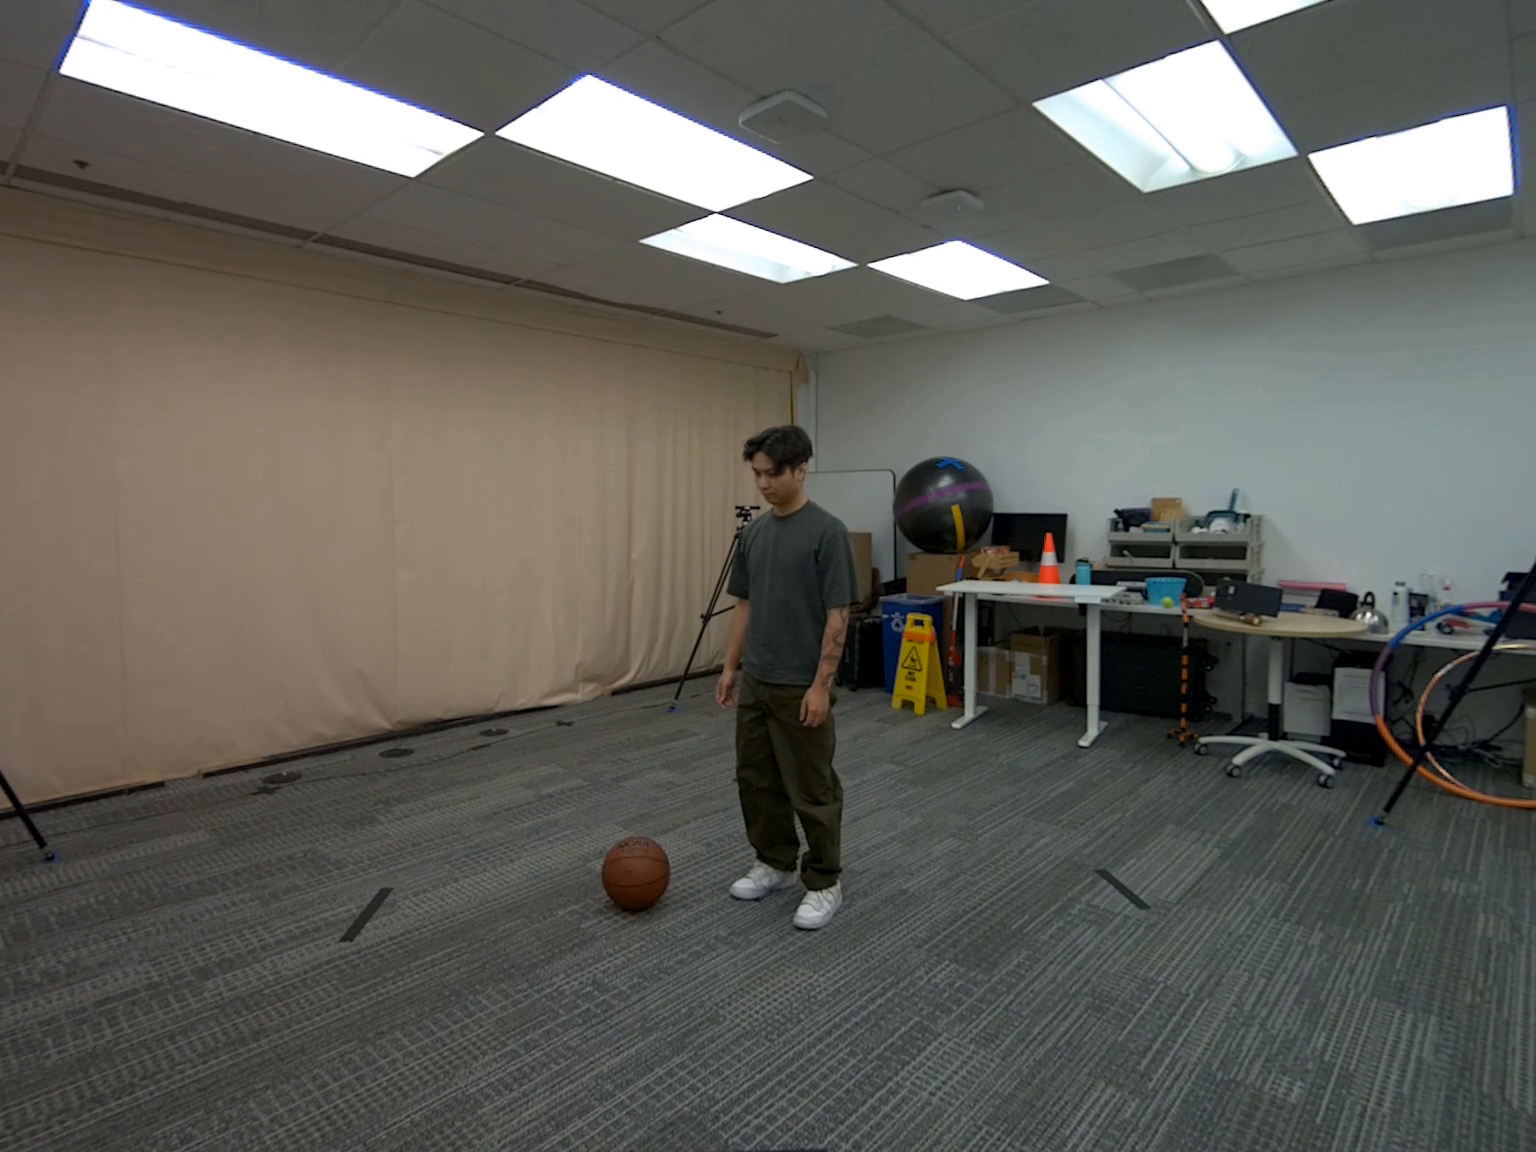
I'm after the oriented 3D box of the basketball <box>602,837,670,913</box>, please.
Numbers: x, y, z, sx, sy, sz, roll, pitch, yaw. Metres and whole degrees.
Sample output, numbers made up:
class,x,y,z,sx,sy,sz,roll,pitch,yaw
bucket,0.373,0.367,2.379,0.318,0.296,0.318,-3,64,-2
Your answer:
class,x,y,z,sx,sy,sz,roll,pitch,yaw
basketball,-0.457,1.038,2.926,0.236,0.235,0.237,0,4,-2
